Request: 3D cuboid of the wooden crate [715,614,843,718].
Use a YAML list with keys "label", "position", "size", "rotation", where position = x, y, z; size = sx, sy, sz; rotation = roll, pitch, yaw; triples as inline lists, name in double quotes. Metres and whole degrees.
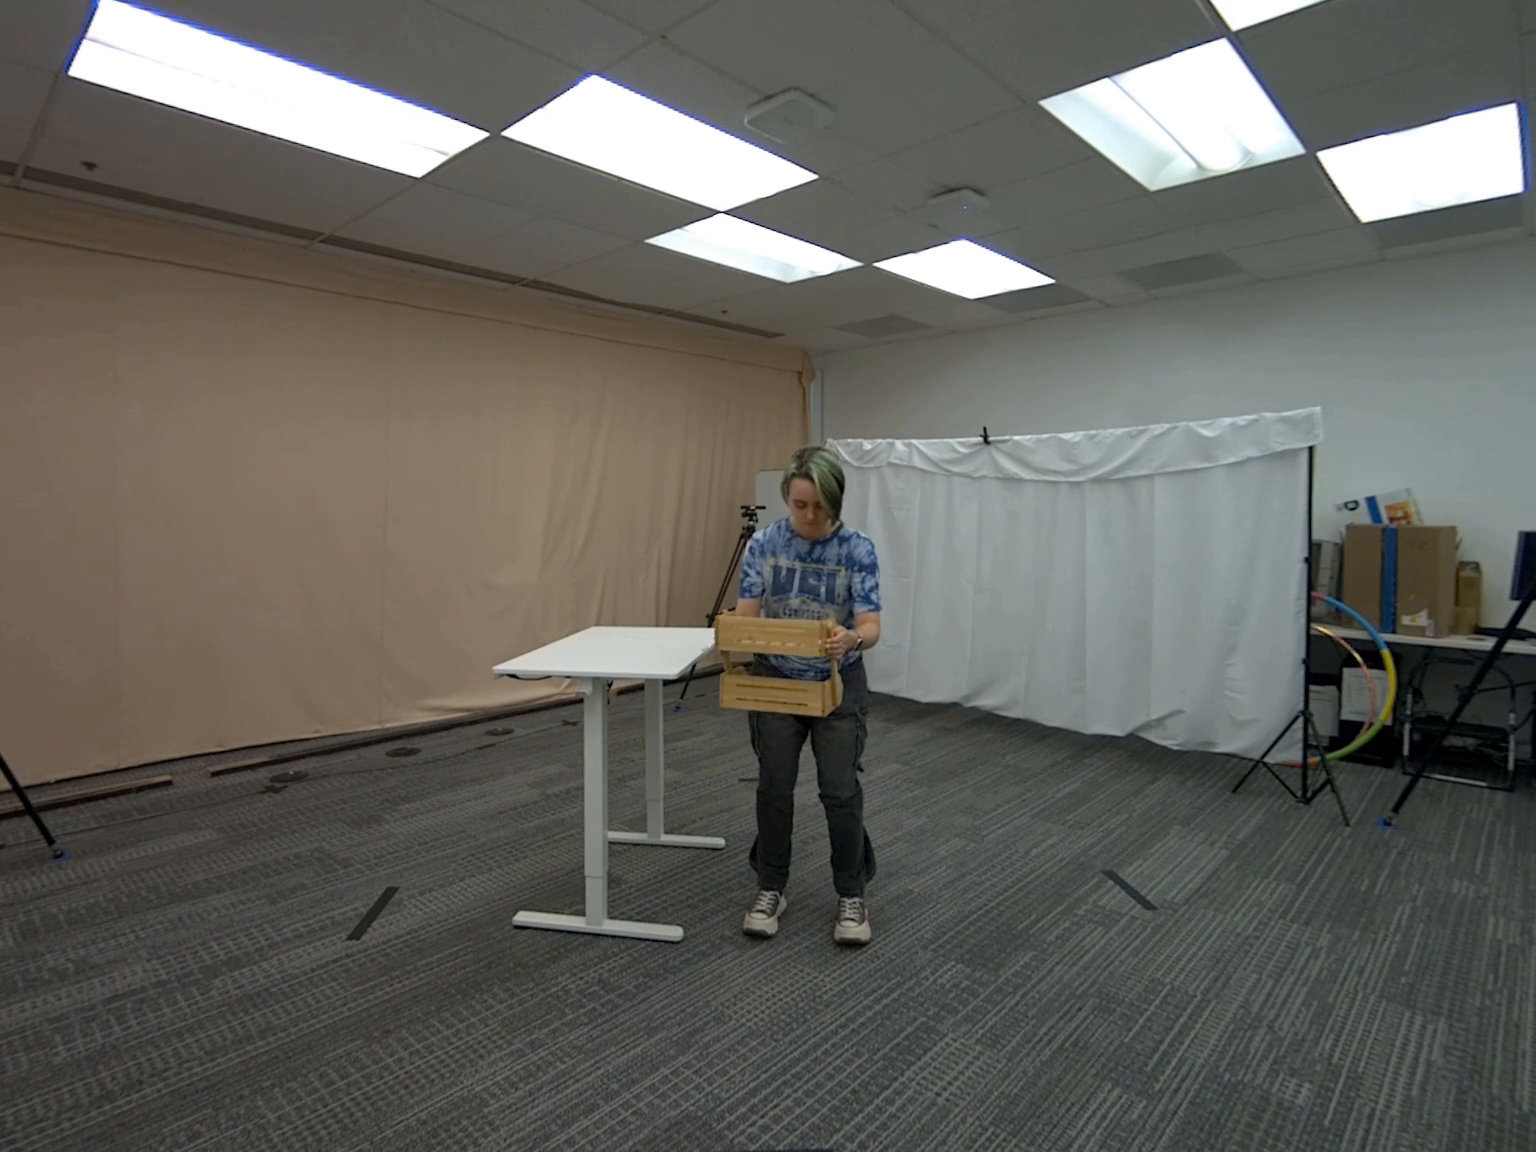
- label: "wooden crate"
  position: [0.045, 0.247, 2.405]
  size: [0.331, 0.273, 0.296]
  rotation: [2, 1, 18]
